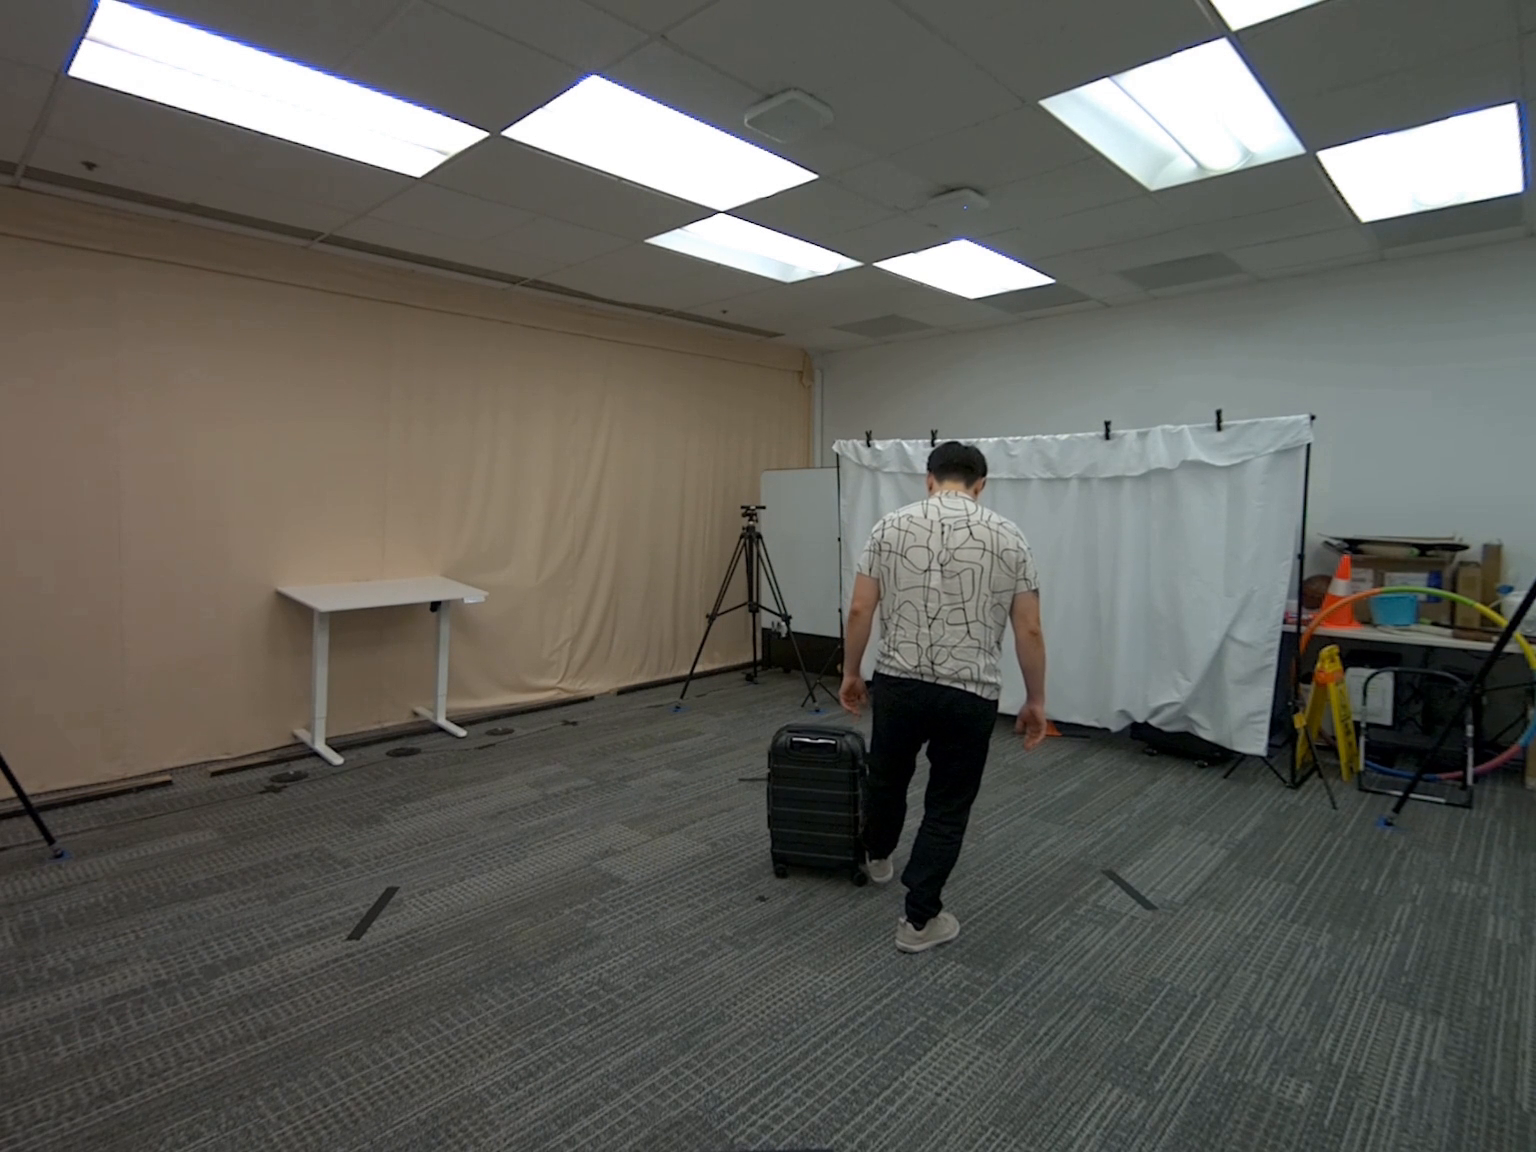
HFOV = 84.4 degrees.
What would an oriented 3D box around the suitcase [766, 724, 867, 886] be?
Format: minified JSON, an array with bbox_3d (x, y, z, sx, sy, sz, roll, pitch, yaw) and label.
[{"bbox_3d":[0.193,0.844,3.212,0.382,0.548,0.244,-1,2,15],"label":"suitcase"}]
